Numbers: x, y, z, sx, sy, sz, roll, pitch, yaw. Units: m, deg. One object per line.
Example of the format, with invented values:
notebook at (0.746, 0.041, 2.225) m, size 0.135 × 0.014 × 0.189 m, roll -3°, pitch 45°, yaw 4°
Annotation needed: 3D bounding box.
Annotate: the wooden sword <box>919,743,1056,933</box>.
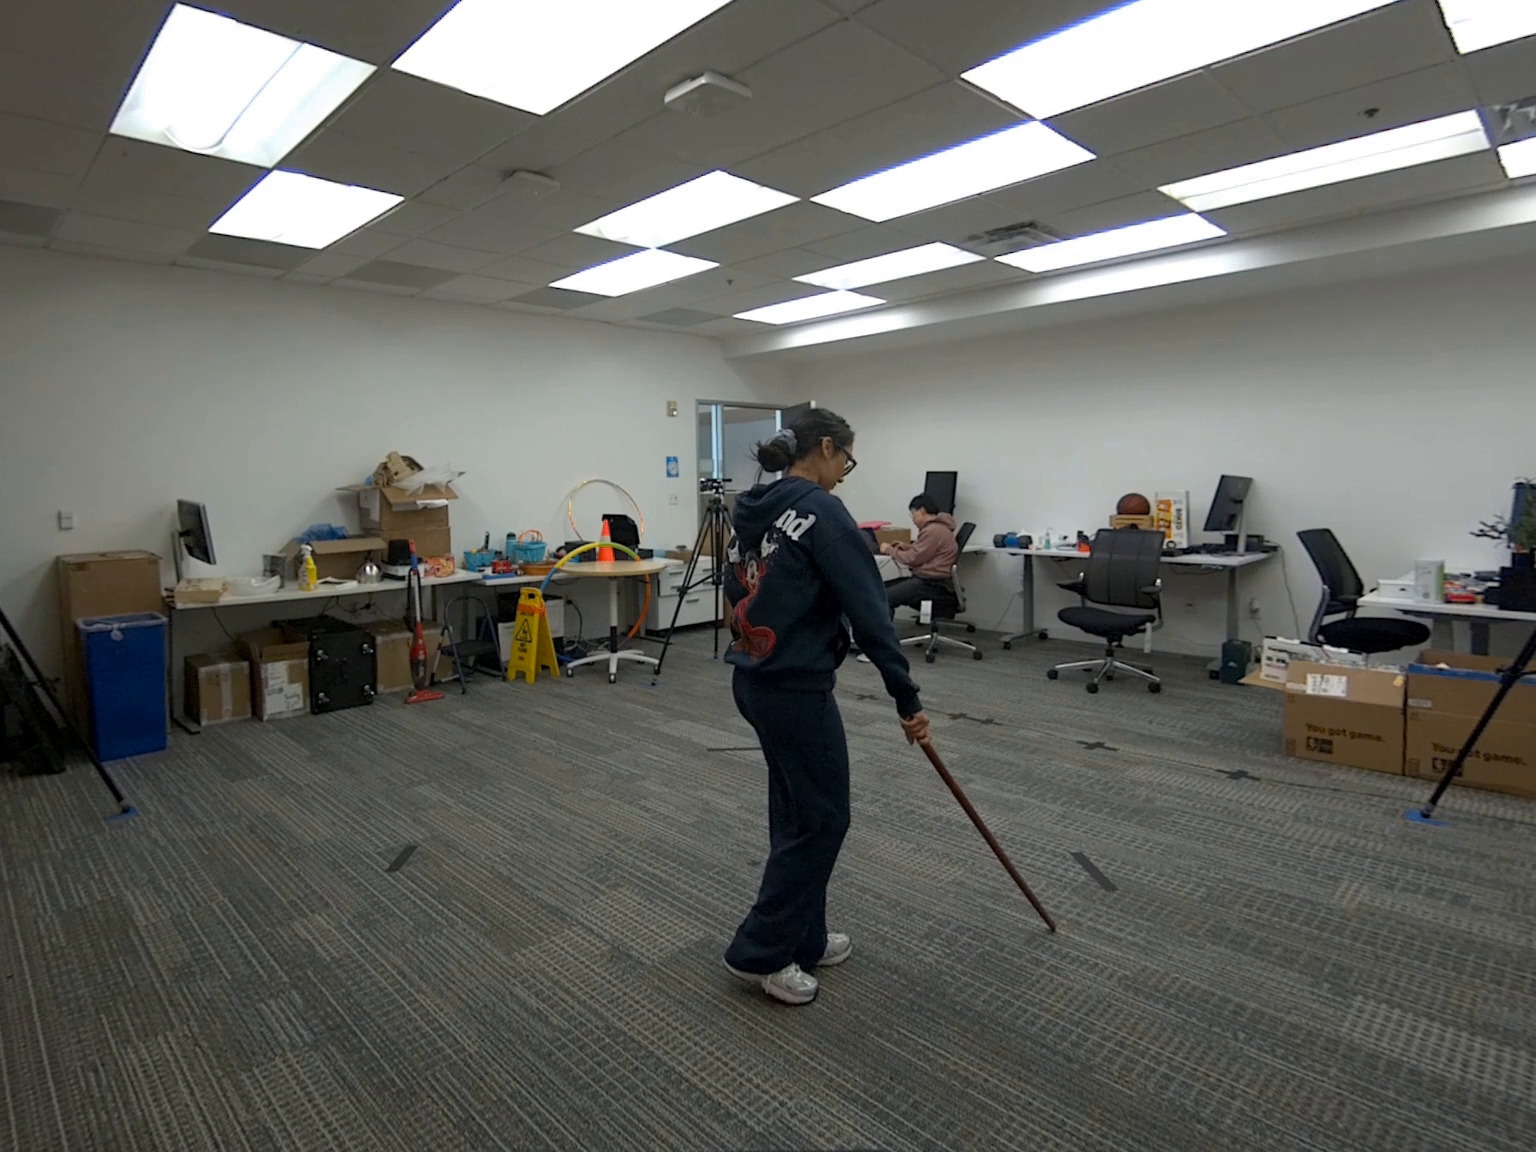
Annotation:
wooden sword at (0.615, 0.726, 2.404) m, size 0.025 × 0.994 × 0.051 m, roll -6°, pitch 39°, yaw 47°
